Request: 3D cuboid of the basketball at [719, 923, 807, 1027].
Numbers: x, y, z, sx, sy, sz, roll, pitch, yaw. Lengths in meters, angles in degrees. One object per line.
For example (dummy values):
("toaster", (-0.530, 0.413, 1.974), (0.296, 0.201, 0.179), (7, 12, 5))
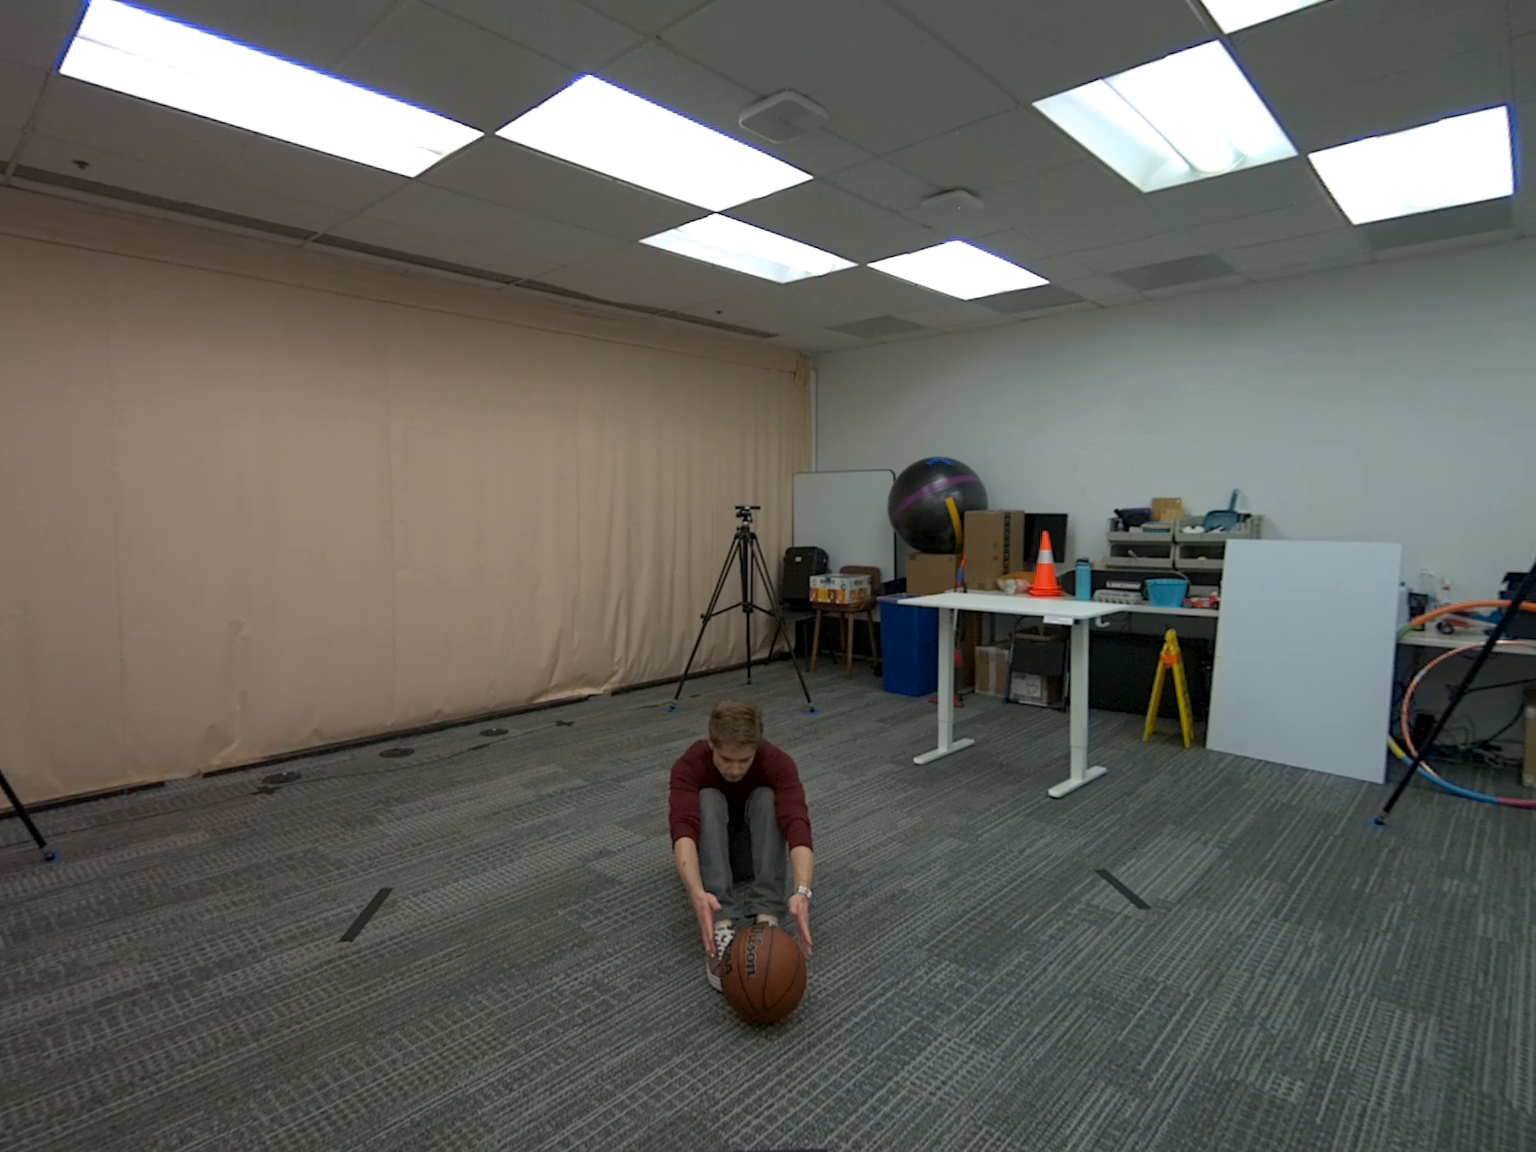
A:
("basketball", (-0.013, 1.071, 2.299), (0.236, 0.235, 0.237), (0, 4, -2))
